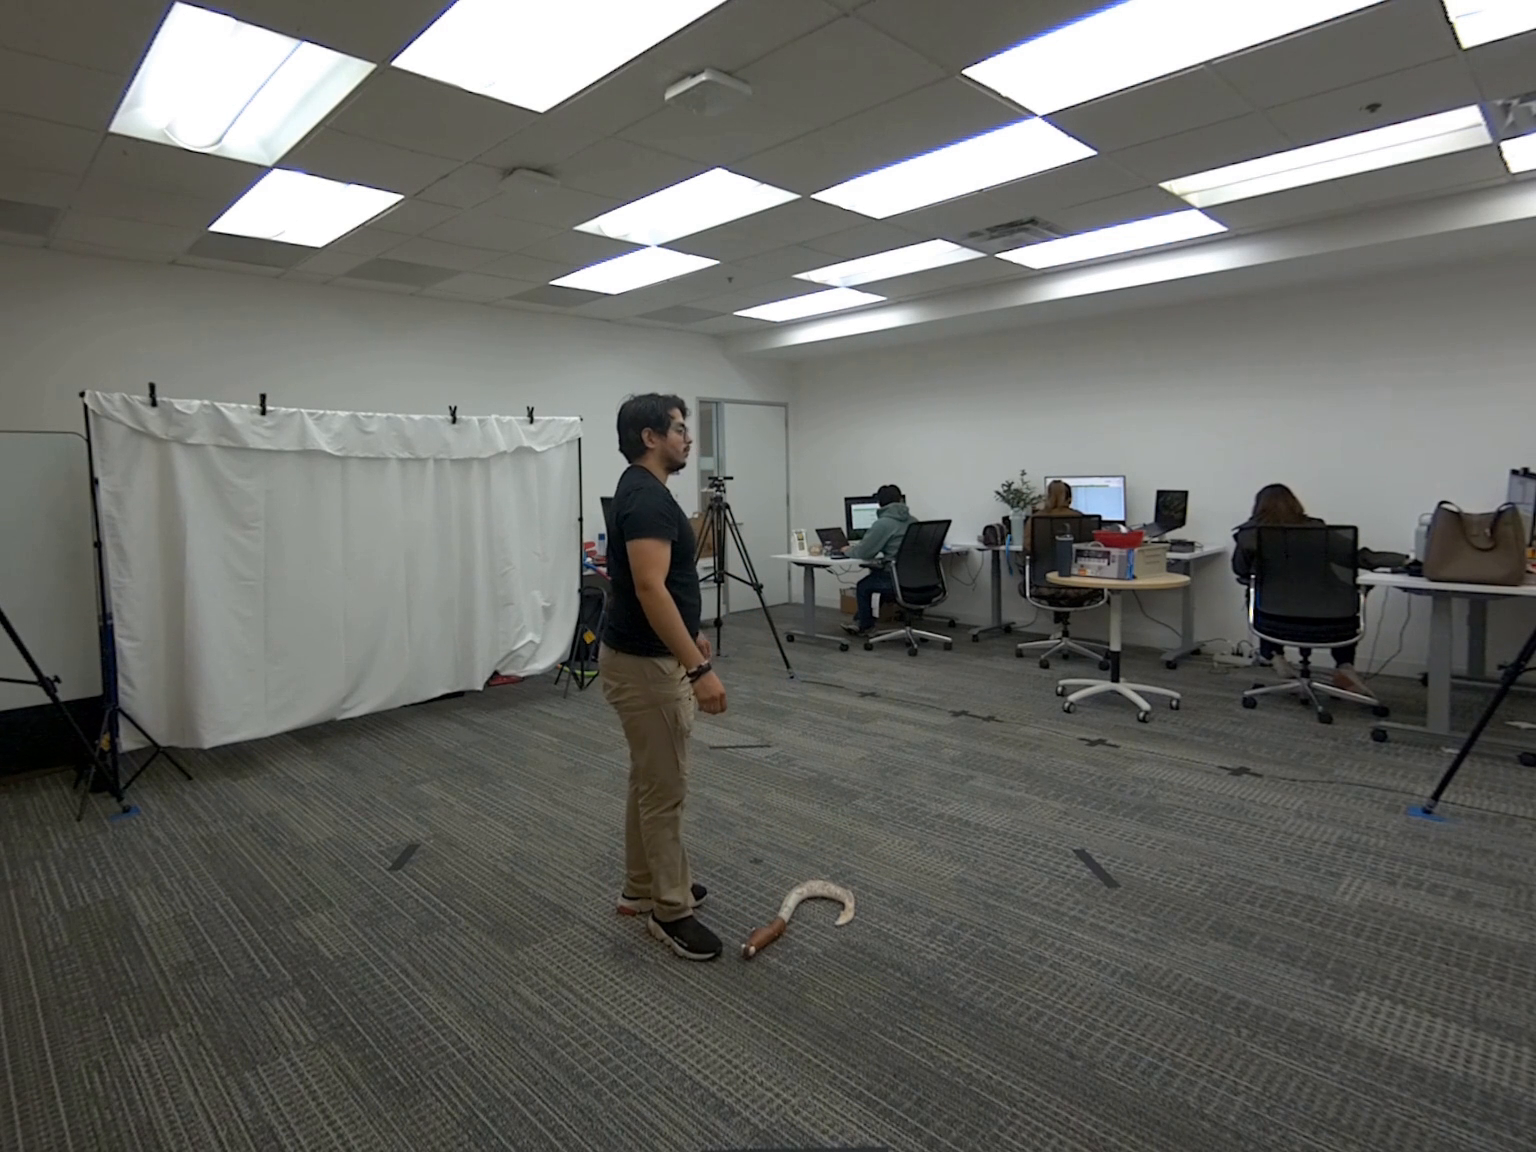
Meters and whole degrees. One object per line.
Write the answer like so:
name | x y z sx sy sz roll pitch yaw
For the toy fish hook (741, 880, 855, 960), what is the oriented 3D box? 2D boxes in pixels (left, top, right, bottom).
toy fish hook | 0.108 1.067 2.646 0.231 0.048 0.496 2 8 32
